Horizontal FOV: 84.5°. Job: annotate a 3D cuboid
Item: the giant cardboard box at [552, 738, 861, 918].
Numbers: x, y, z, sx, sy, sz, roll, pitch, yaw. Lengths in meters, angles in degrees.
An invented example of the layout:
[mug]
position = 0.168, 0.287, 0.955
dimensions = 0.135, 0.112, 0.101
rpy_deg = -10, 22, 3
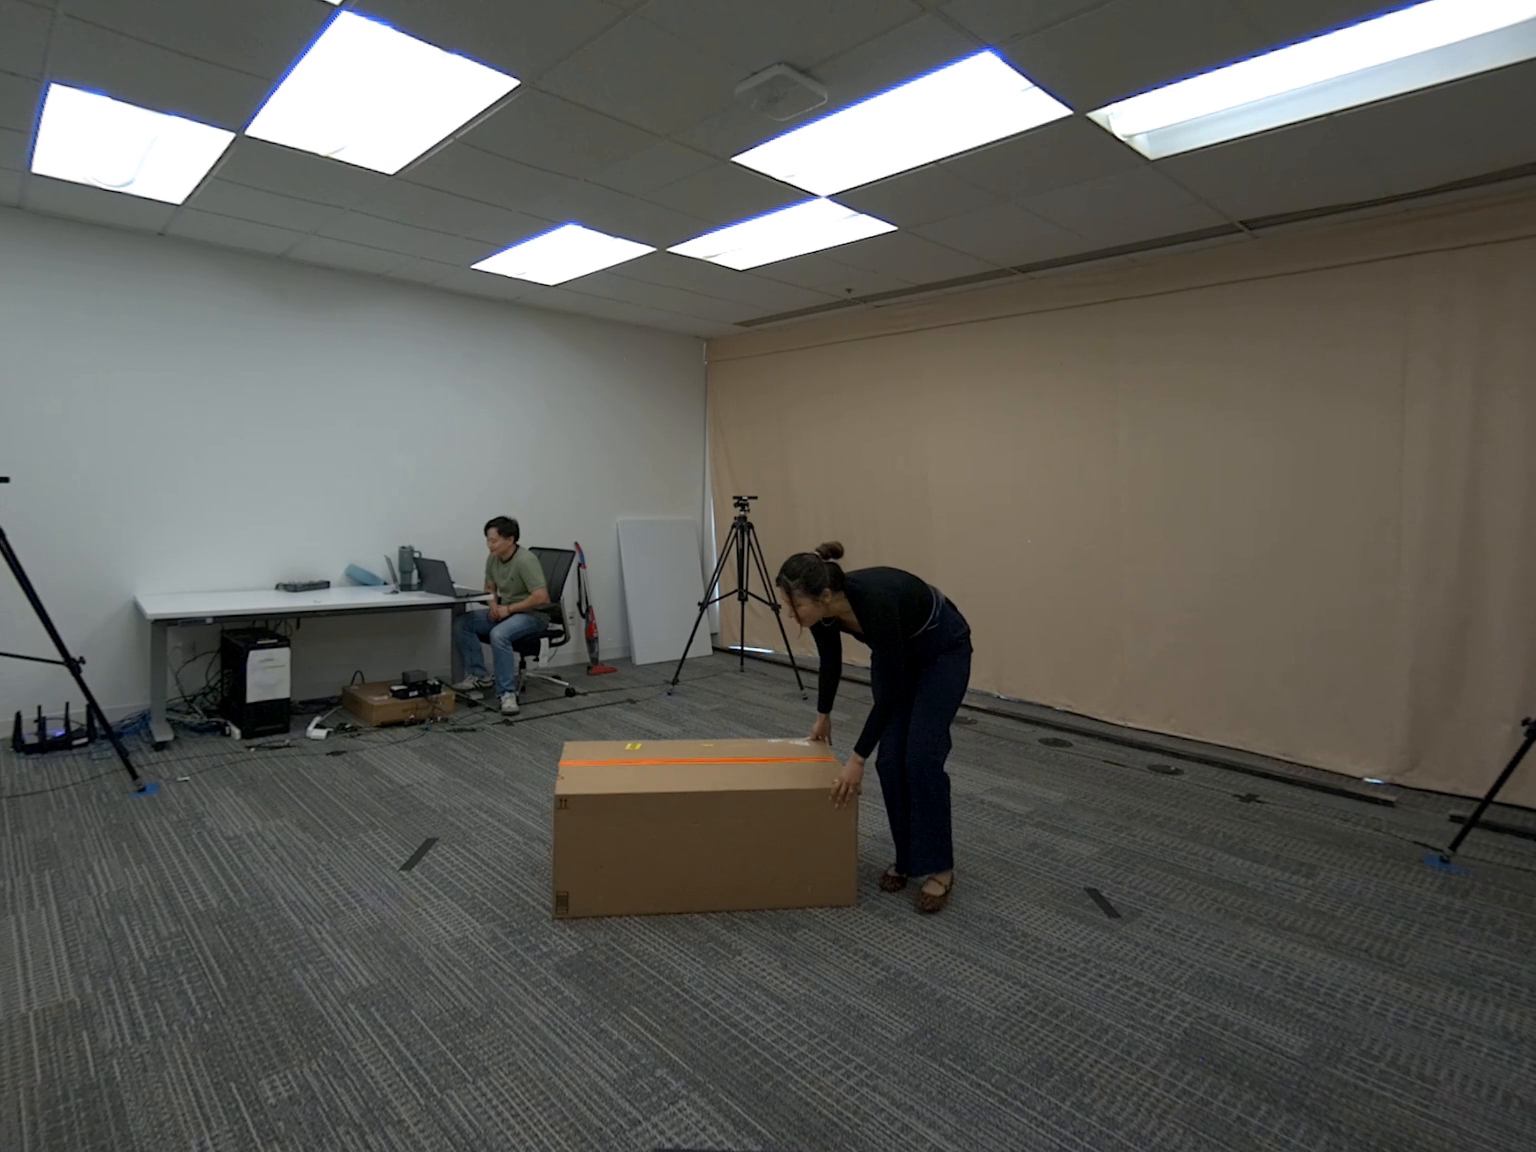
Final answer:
[giant cardboard box]
position = -0.253, 0.883, 3.080
dimensions = 1.019, 0.425, 0.583
rpy_deg = 1, 4, -8
